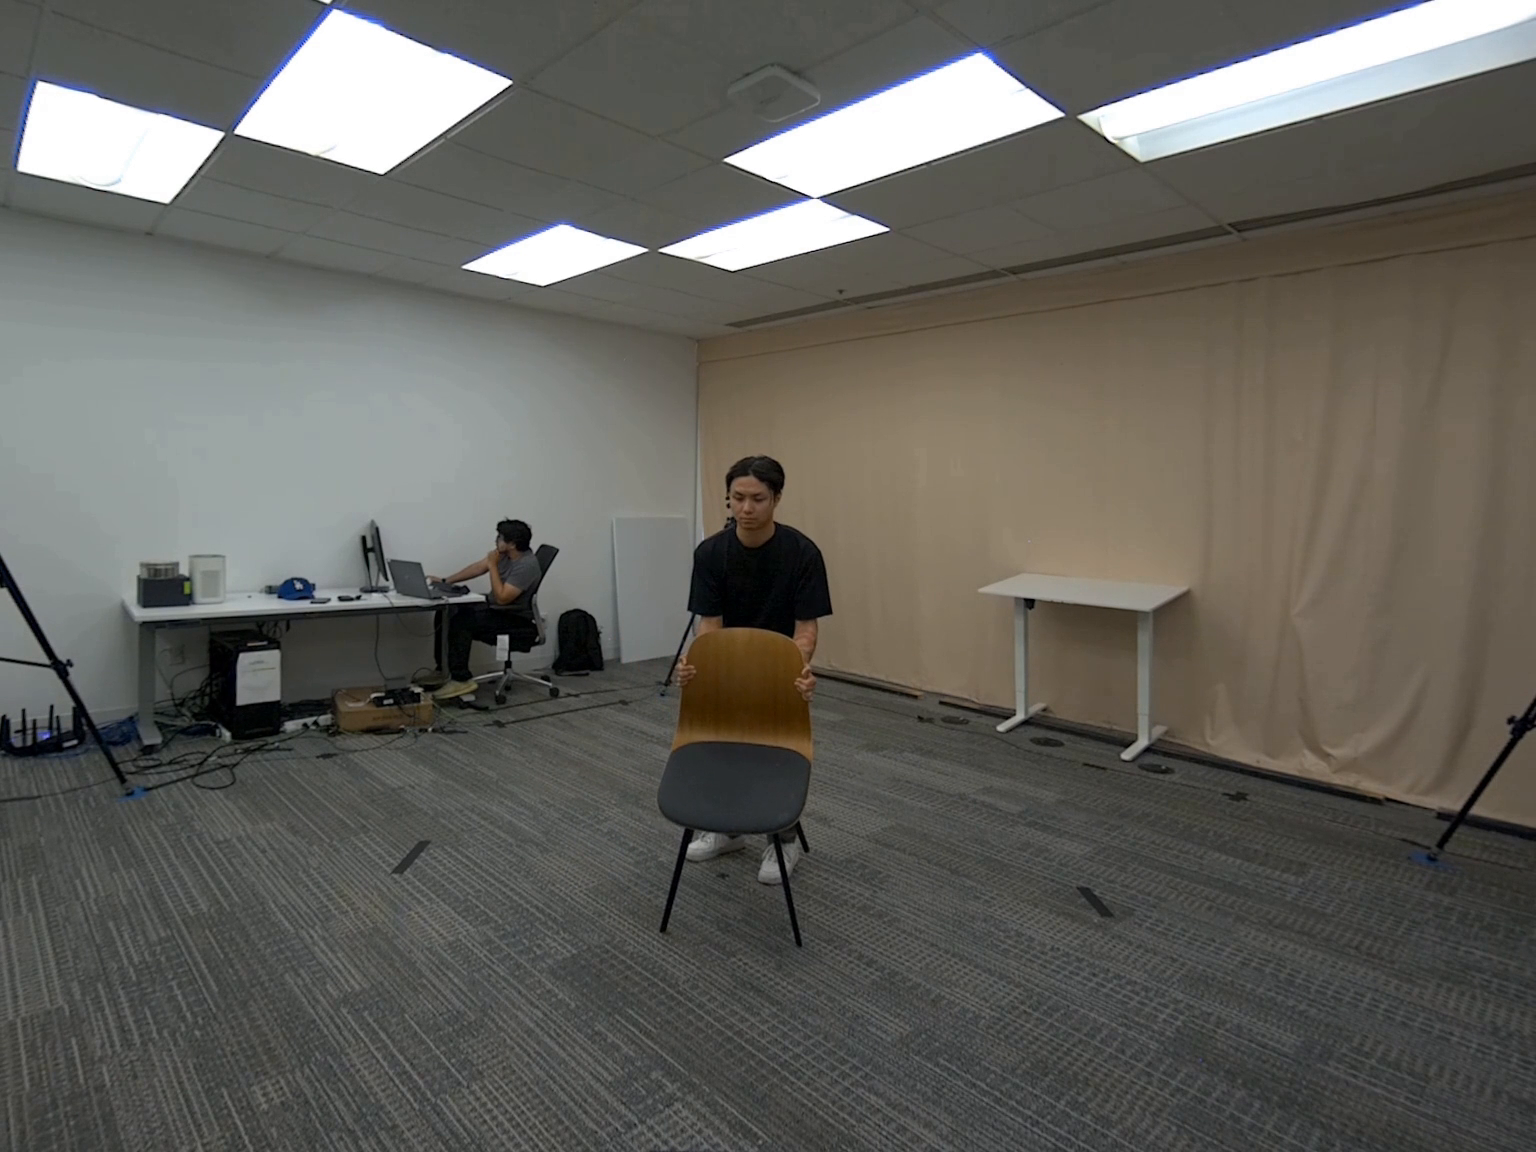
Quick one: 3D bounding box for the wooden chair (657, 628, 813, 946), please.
[{"bbox_3d":[-0.104,0.676,2.708,0.481,0.868,0.525,3,15,7],"label":"wooden chair"}]
